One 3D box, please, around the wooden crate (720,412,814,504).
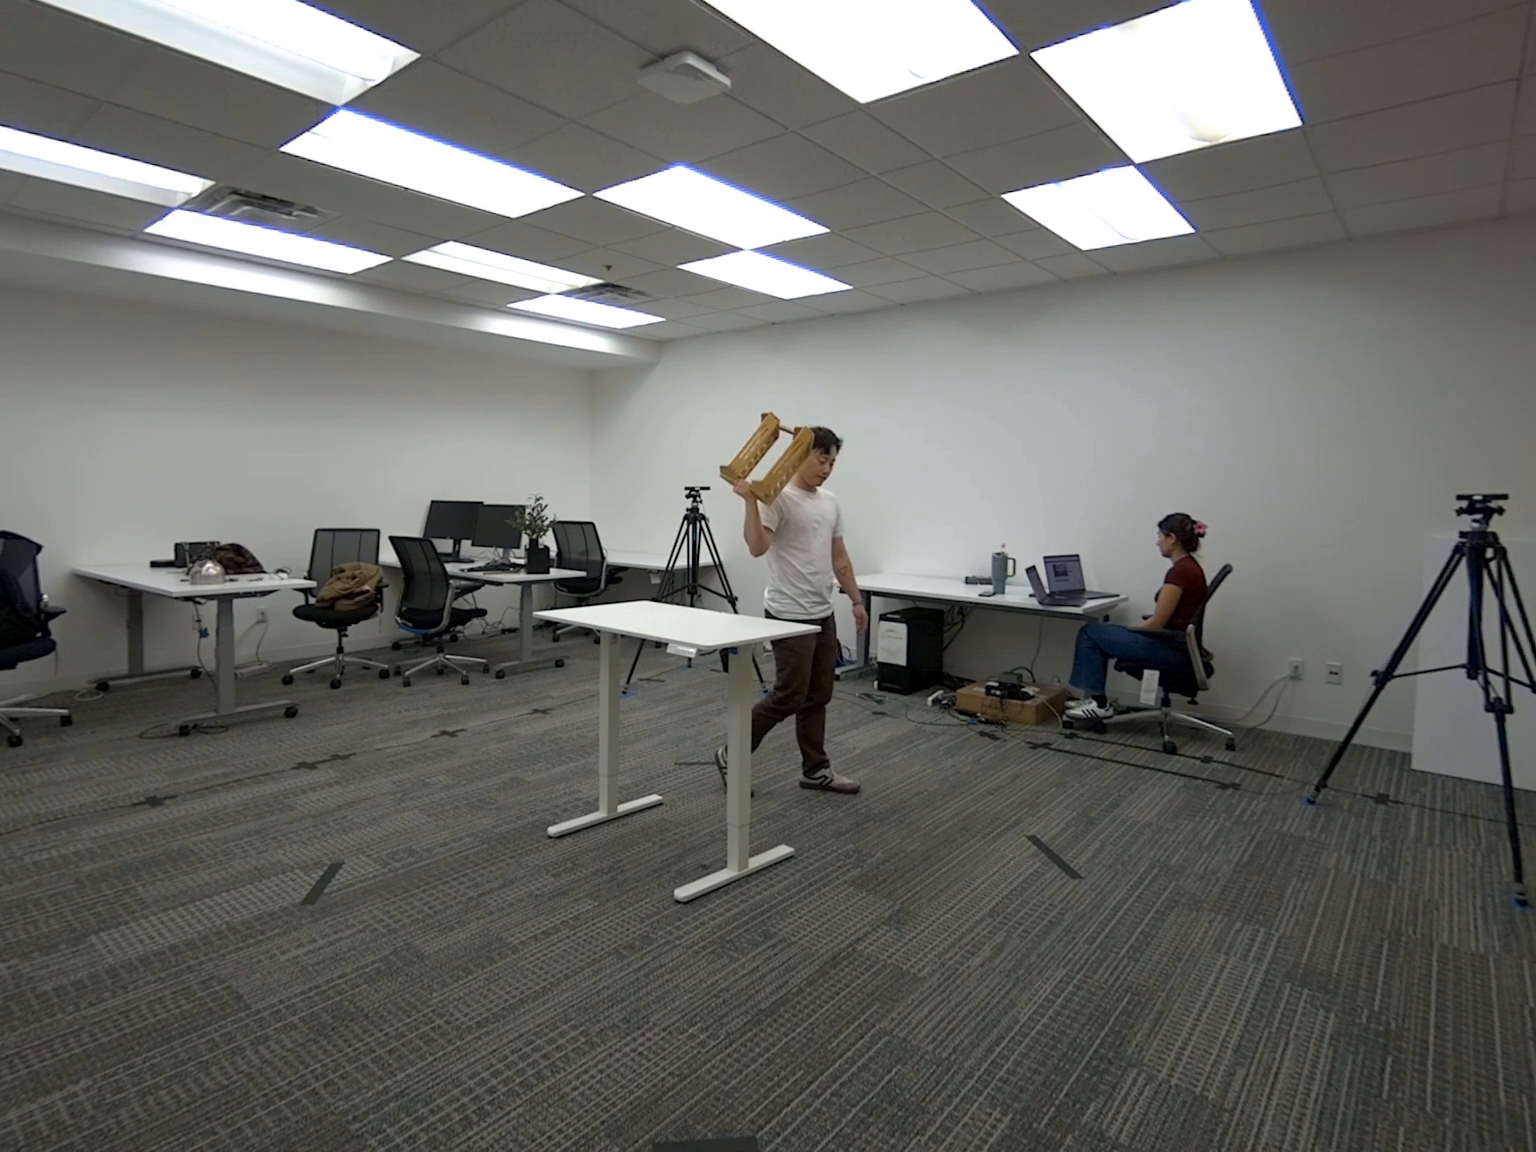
[{"bbox_3d":[-0.025,-0.511,3.568,0.278,0.325,0.297,36,-11,10],"label":"wooden crate"}]
